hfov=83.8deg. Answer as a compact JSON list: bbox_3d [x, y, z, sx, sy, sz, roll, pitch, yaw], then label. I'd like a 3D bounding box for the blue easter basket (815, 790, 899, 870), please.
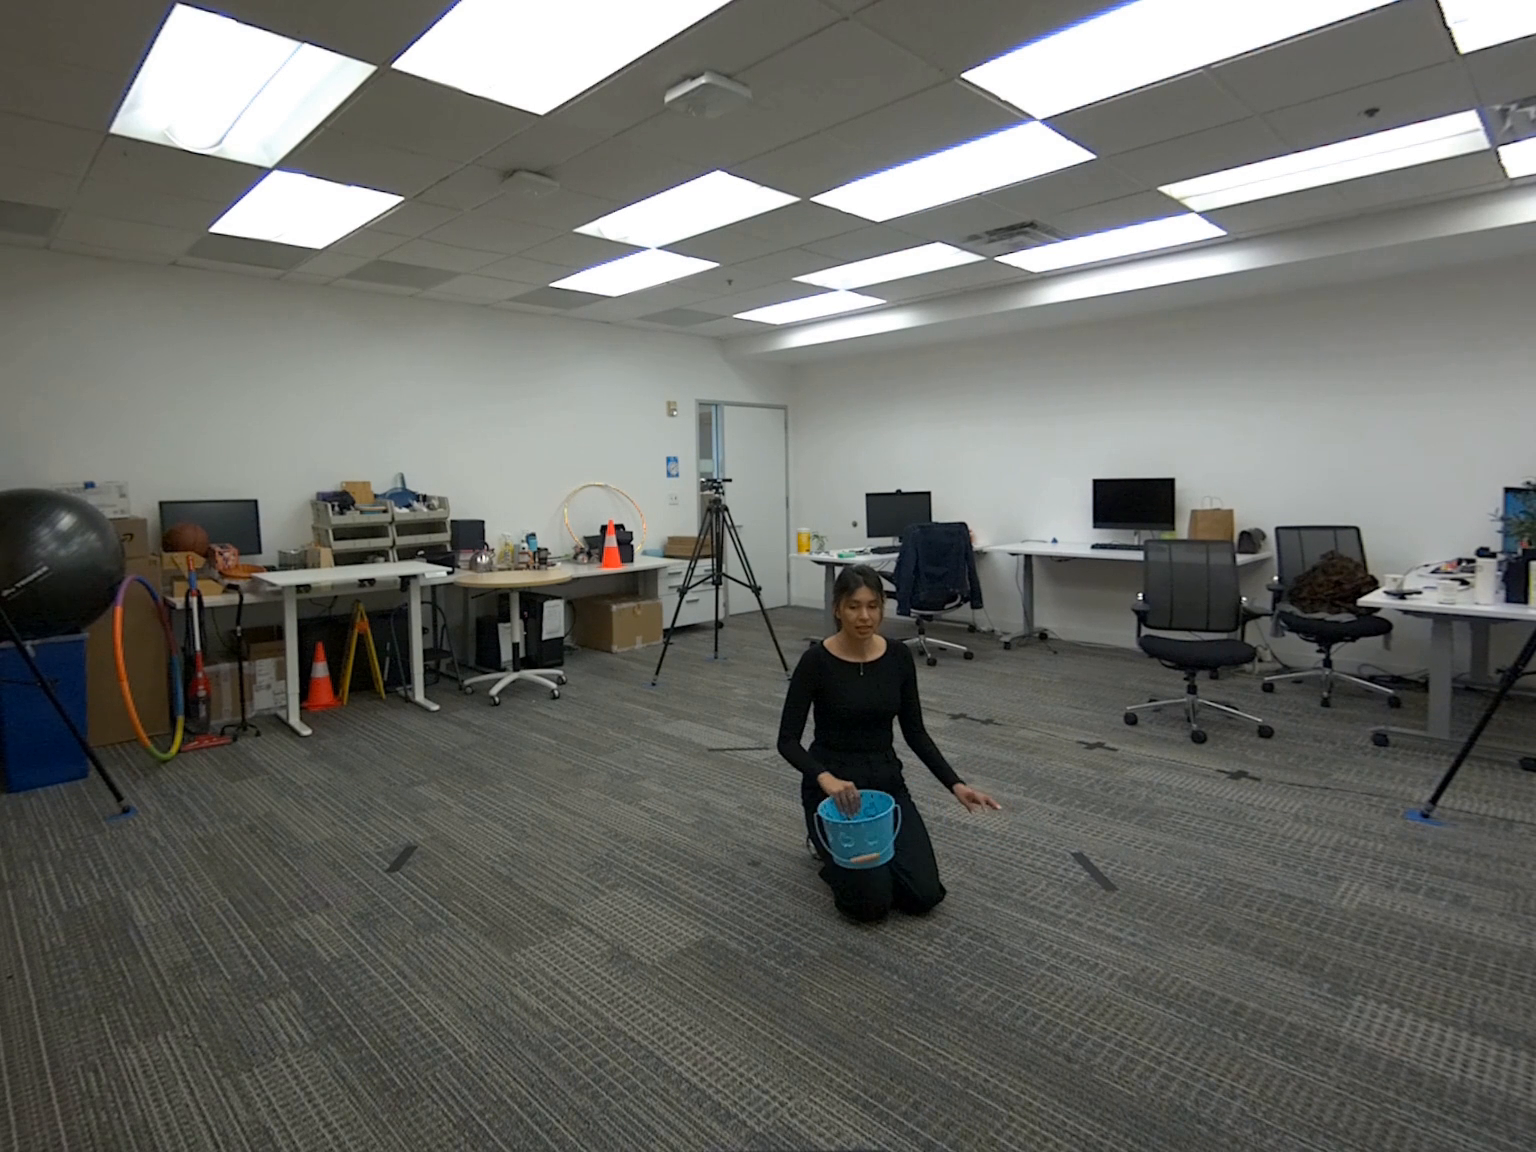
[{"bbox_3d":[0.264,0.763,2.552,0.243,0.155,0.245,-8,5,-1],"label":"blue easter basket"}]
